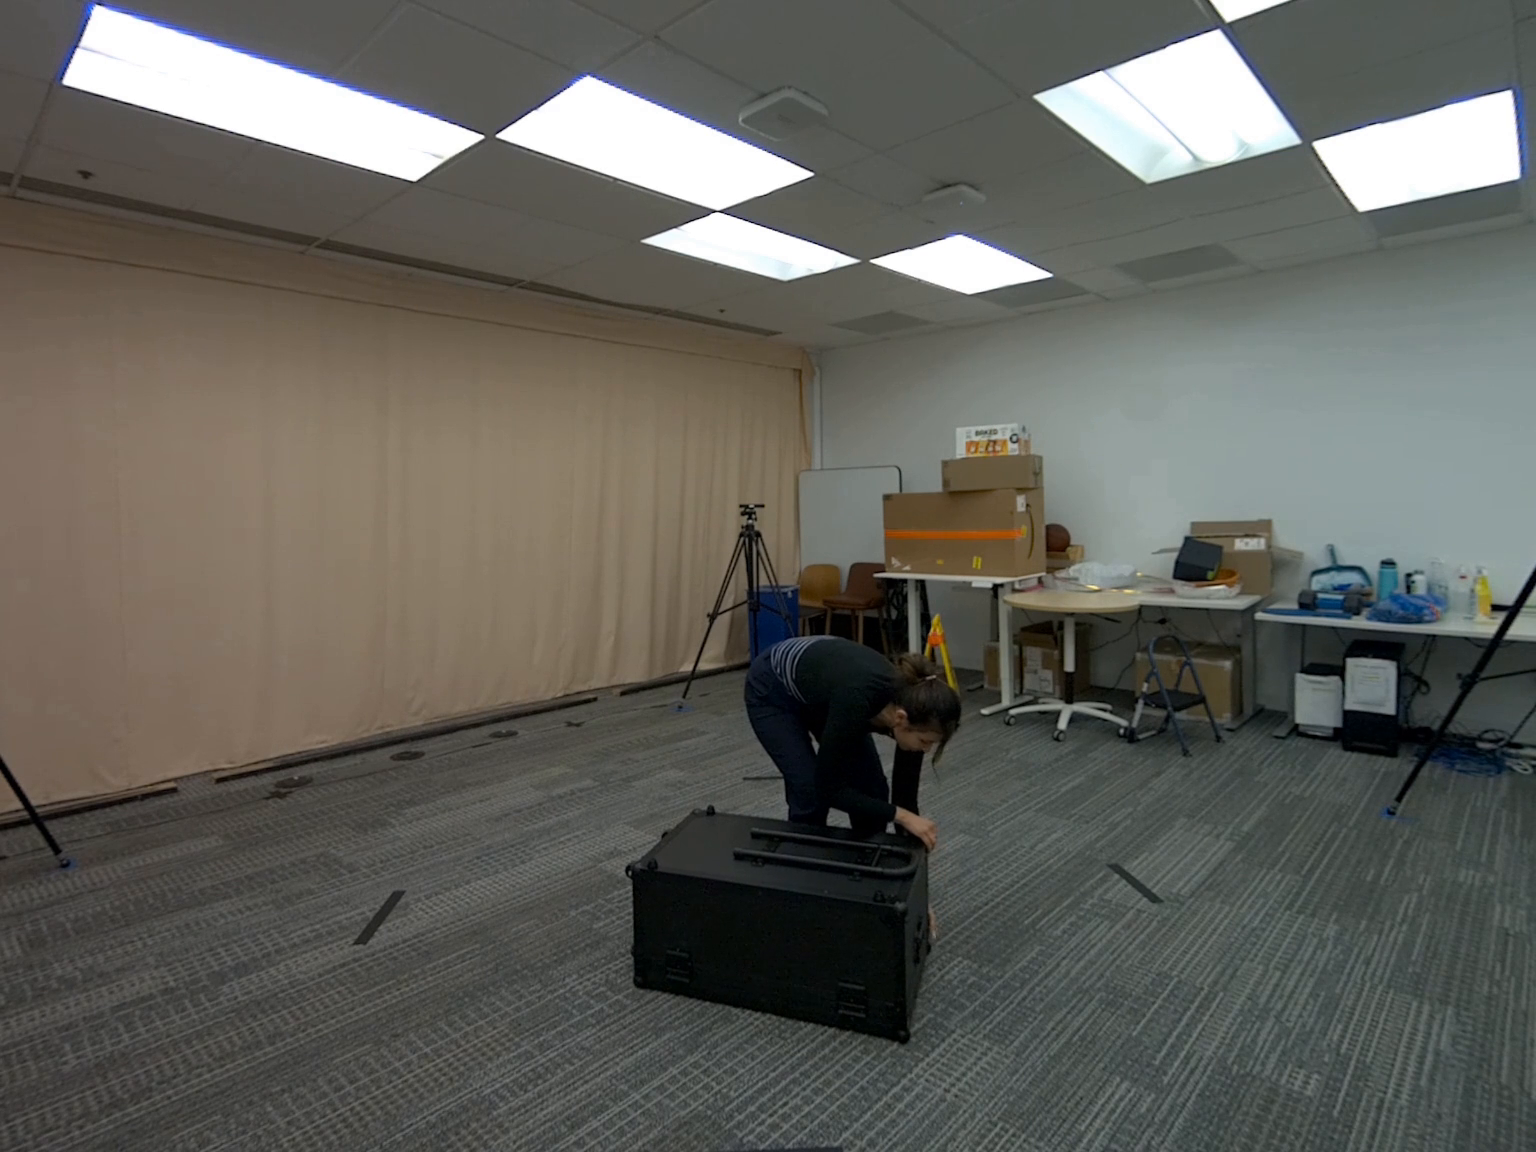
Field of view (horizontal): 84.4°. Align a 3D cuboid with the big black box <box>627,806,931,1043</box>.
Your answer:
[{"bbox_3d":[0.014,0.979,2.524,0.880,0.395,0.512,-1,4,20],"label":"big black box"}]
